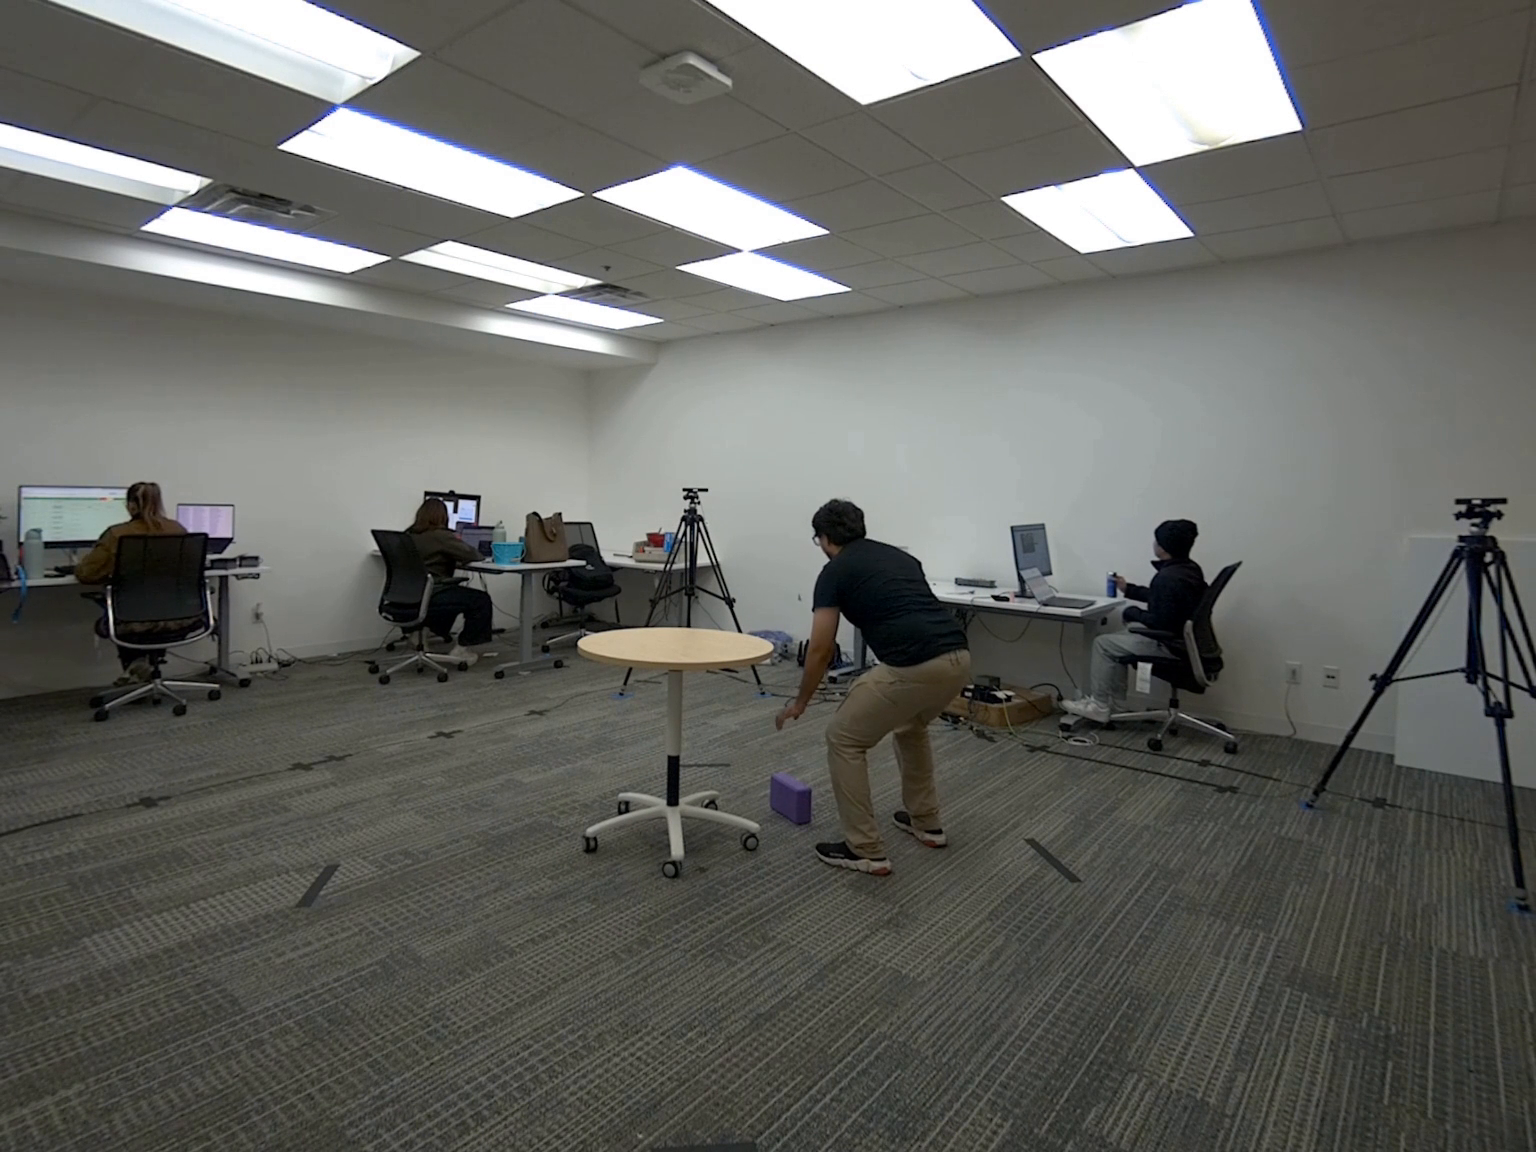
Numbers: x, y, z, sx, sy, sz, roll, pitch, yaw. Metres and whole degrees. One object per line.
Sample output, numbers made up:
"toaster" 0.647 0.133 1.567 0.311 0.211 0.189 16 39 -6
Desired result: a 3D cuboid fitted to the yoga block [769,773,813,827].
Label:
"yoga block" 0.085 0.946 3.653 0.074 0.148 0.236 -2 6 -30
